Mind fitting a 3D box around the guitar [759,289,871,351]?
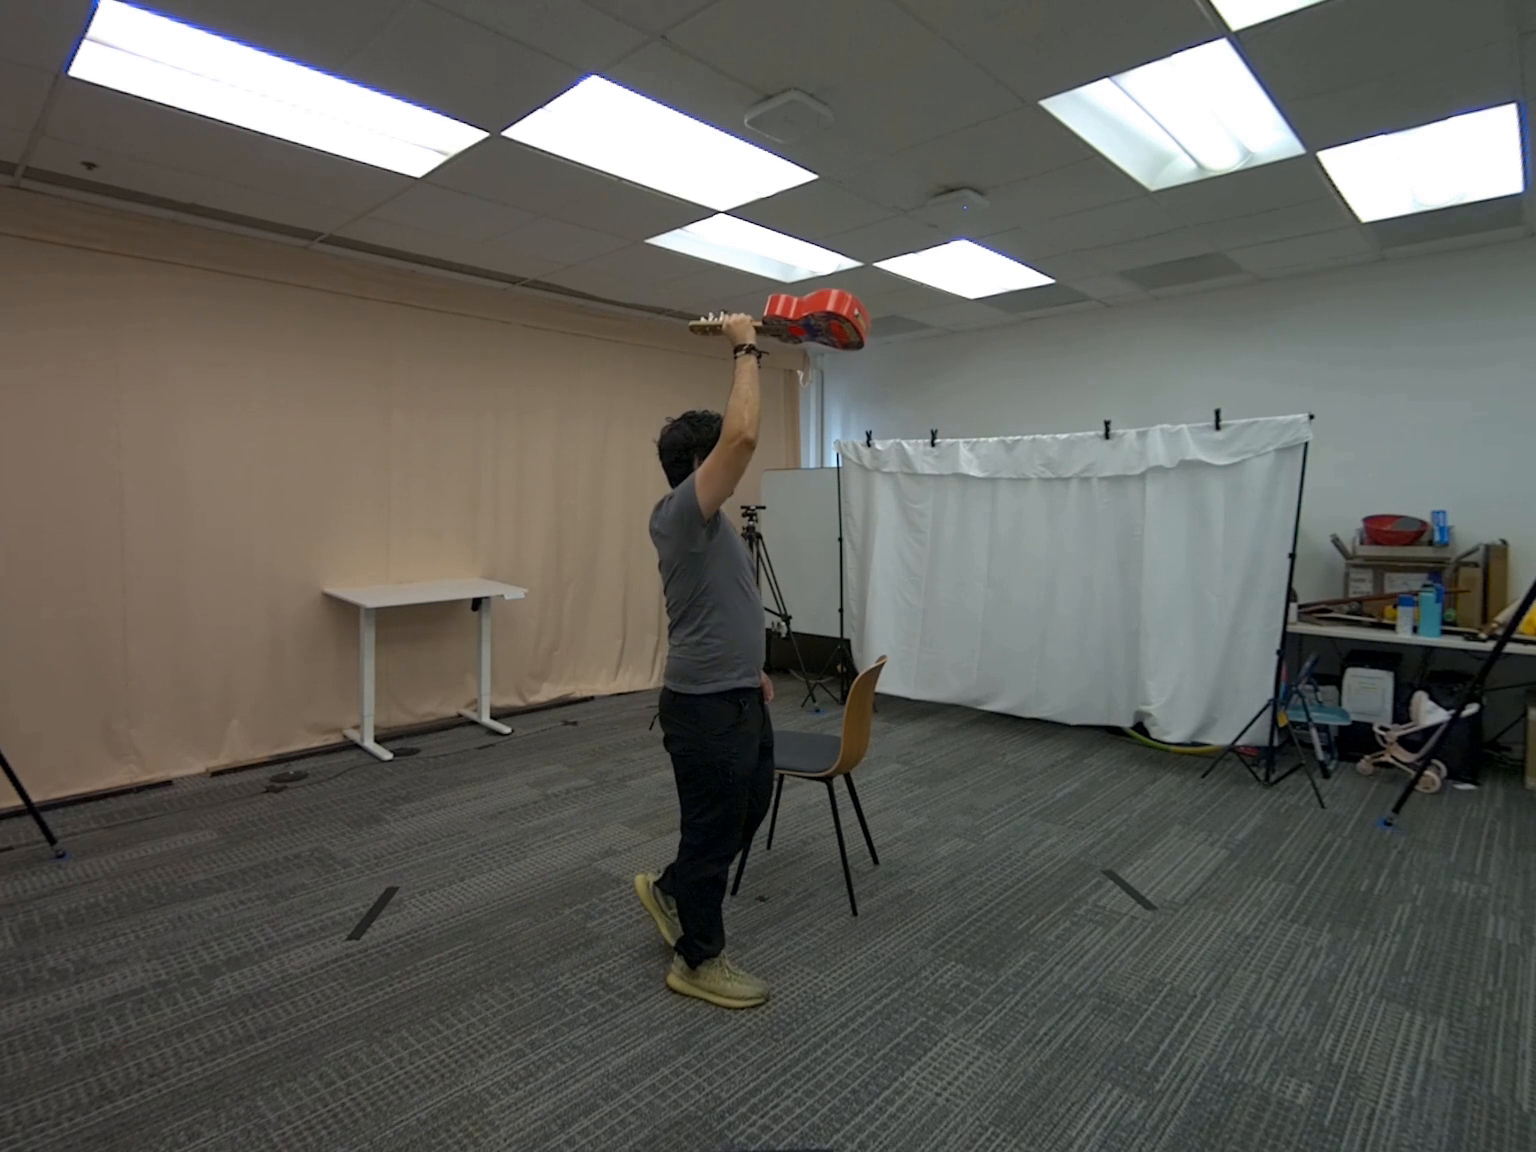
[{"bbox_3d":[0.014,-0.671,2.146,0.509,0.071,0.188,13,-11,20],"label":"guitar"}]
